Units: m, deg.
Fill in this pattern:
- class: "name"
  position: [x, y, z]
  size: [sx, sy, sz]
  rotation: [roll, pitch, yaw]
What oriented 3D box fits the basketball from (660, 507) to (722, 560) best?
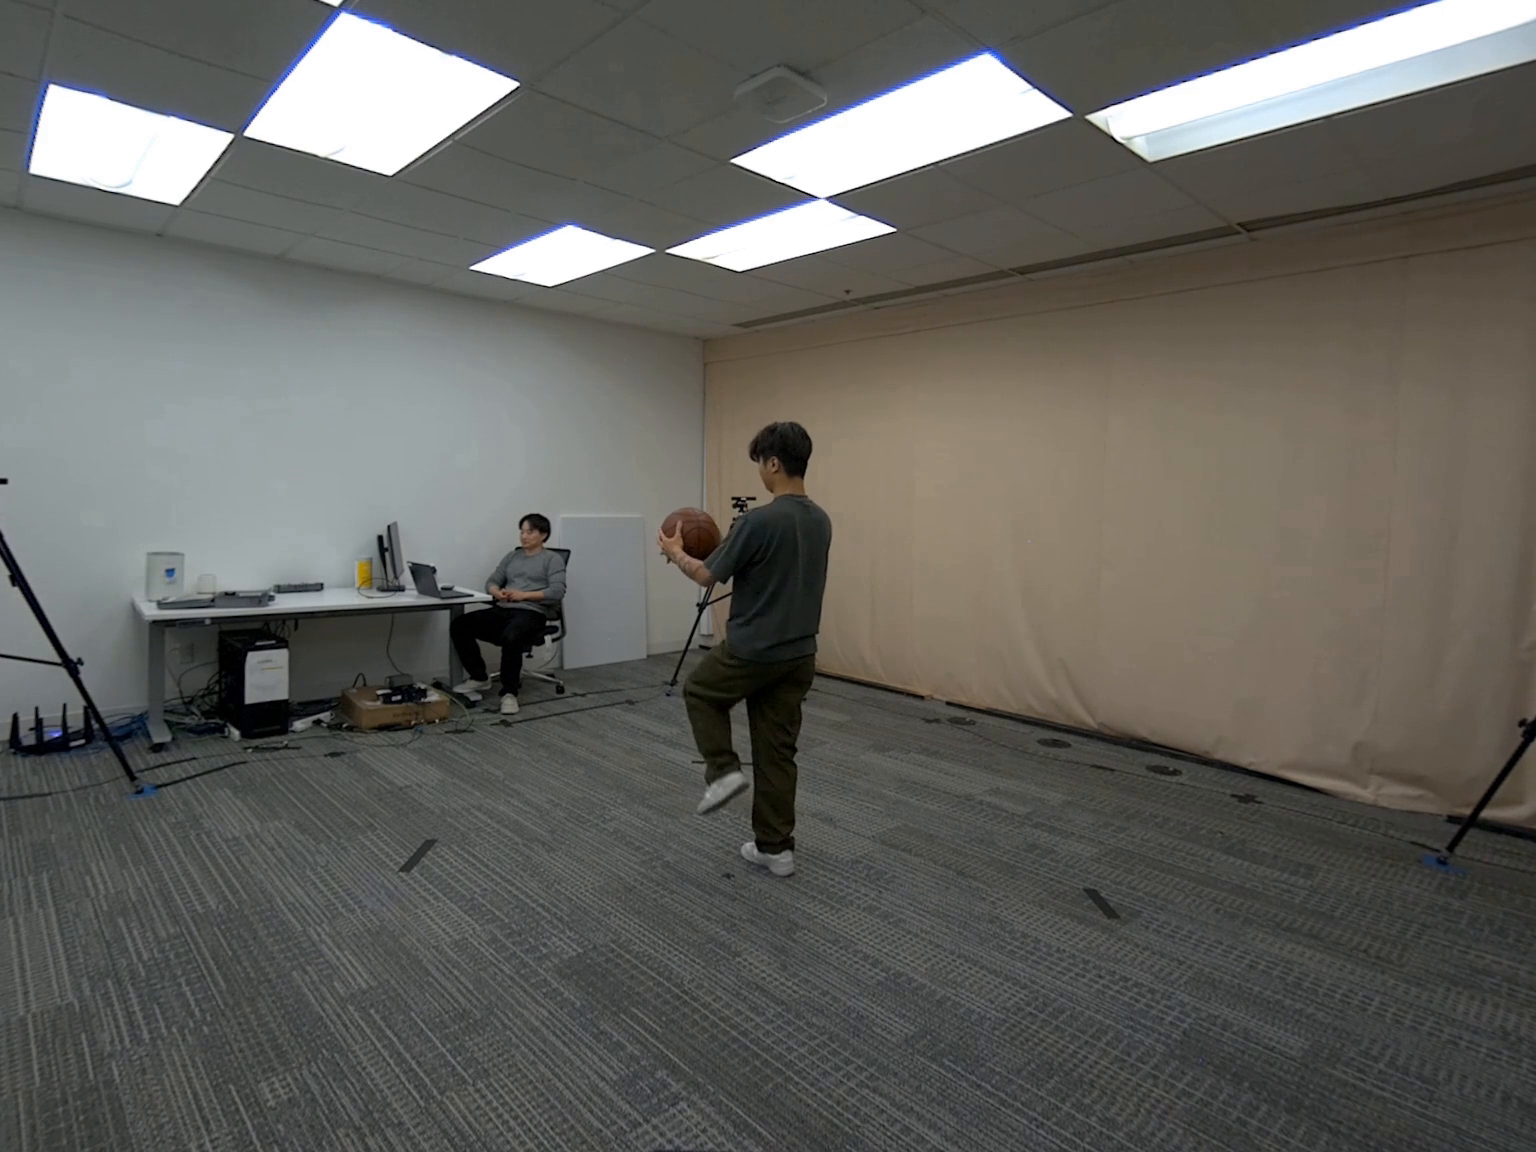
- class: "basketball"
  position: [-0.322, -0.134, 3.366]
  size: [0.236, 0.235, 0.237]
  rotation: [1, 4, -1]
